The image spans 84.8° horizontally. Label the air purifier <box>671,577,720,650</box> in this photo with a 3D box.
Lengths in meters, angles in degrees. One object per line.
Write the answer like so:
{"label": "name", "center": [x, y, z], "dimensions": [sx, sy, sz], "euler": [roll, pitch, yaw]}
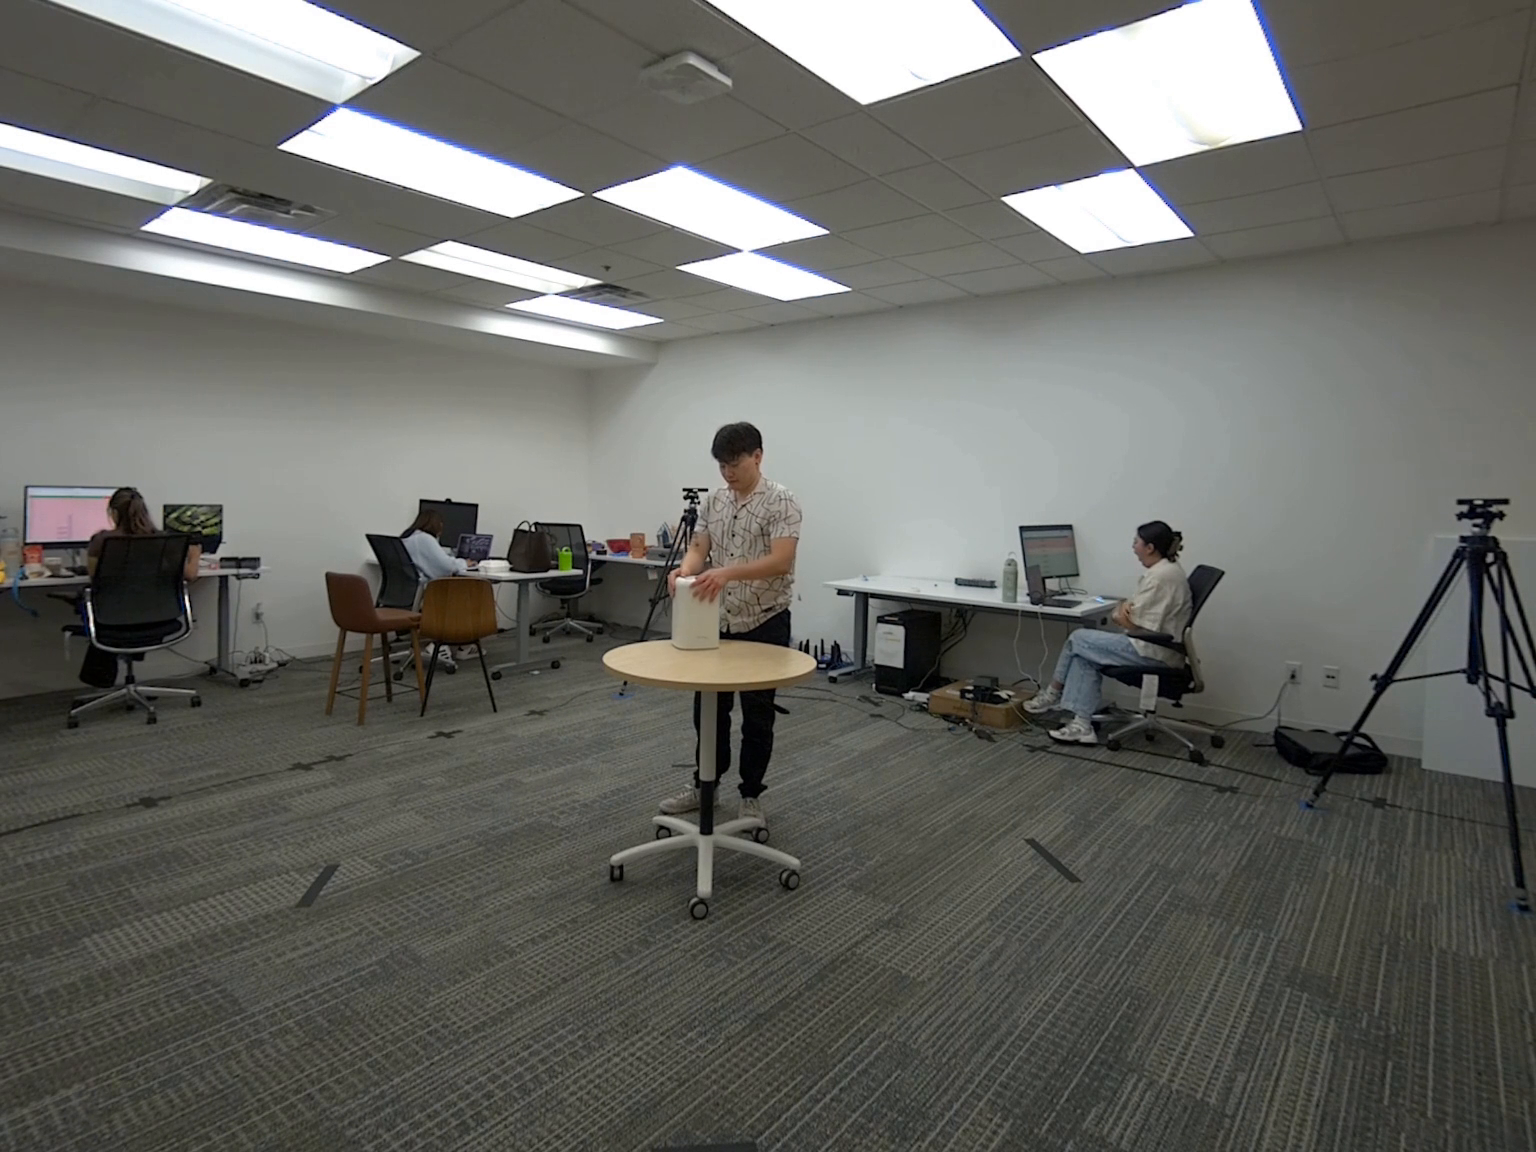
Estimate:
{"label": "air purifier", "center": [-0.290, 0.136, 3.283], "dimensions": [0.169, 0.265, 0.174], "euler": [4, 2, -13]}
